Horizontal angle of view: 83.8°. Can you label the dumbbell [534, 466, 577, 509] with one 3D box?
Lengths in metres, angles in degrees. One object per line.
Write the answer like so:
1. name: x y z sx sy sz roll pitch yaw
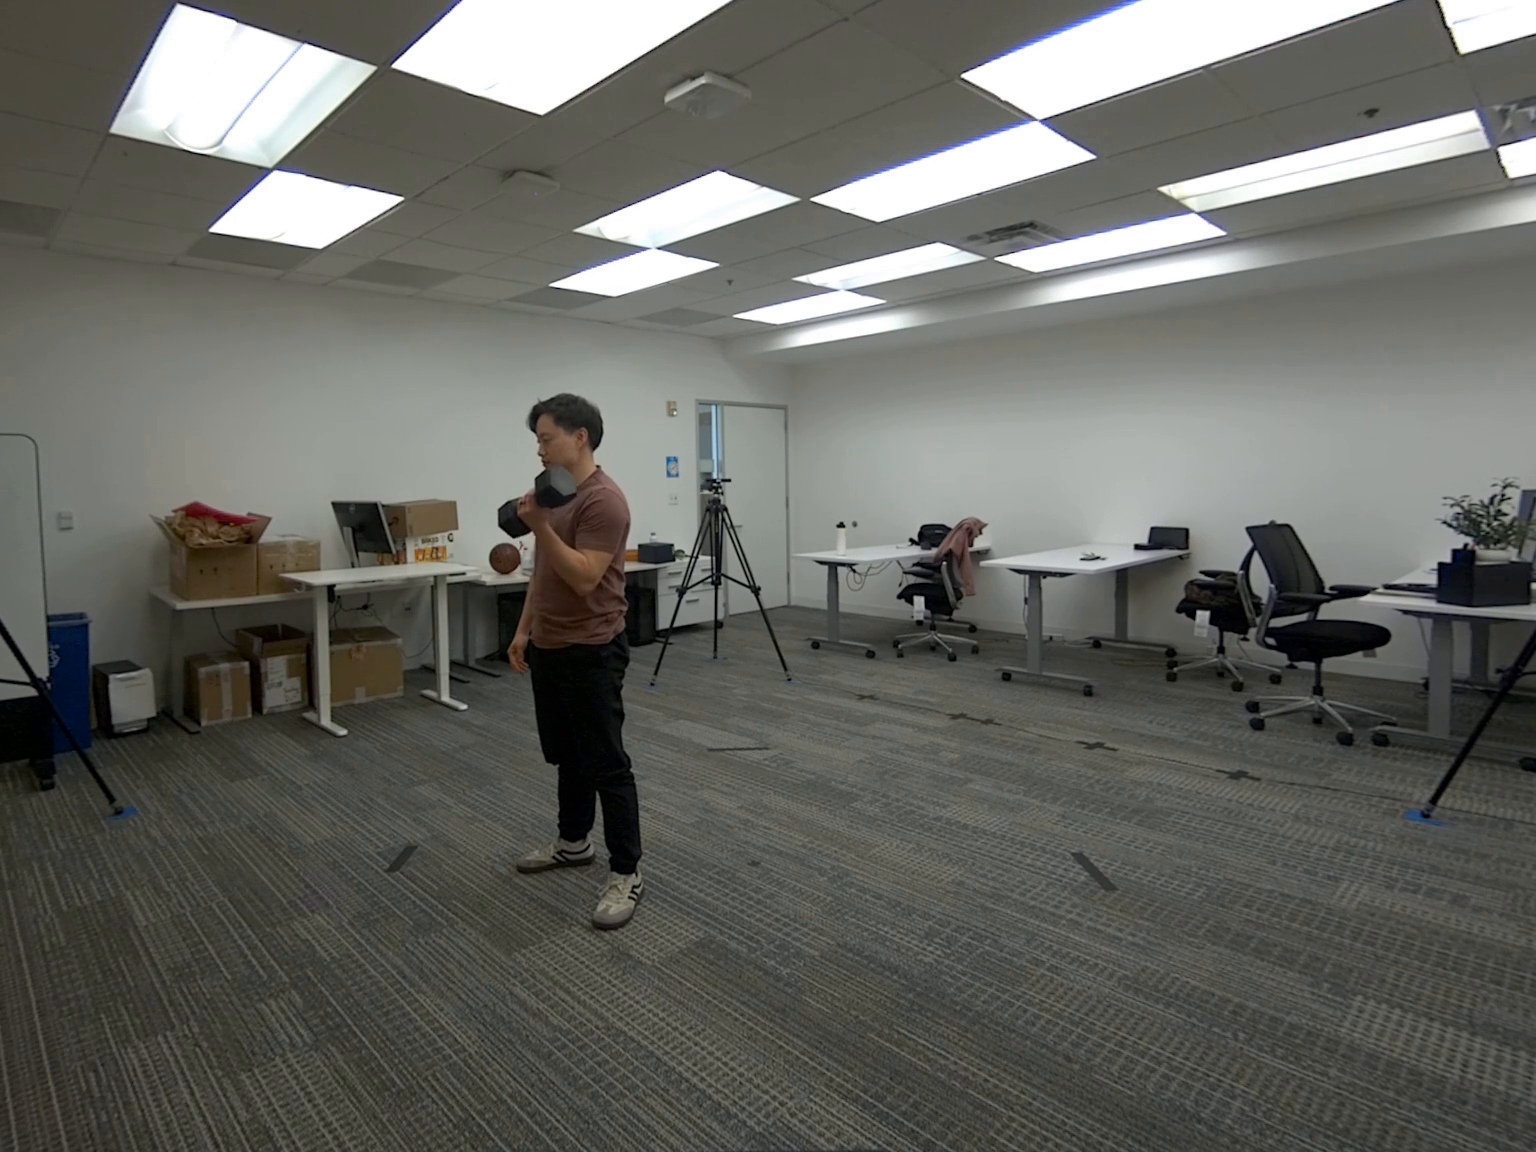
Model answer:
1. dumbbell: -0.708 -0.211 2.584 0.296 0.120 0.110 -30 28 37
